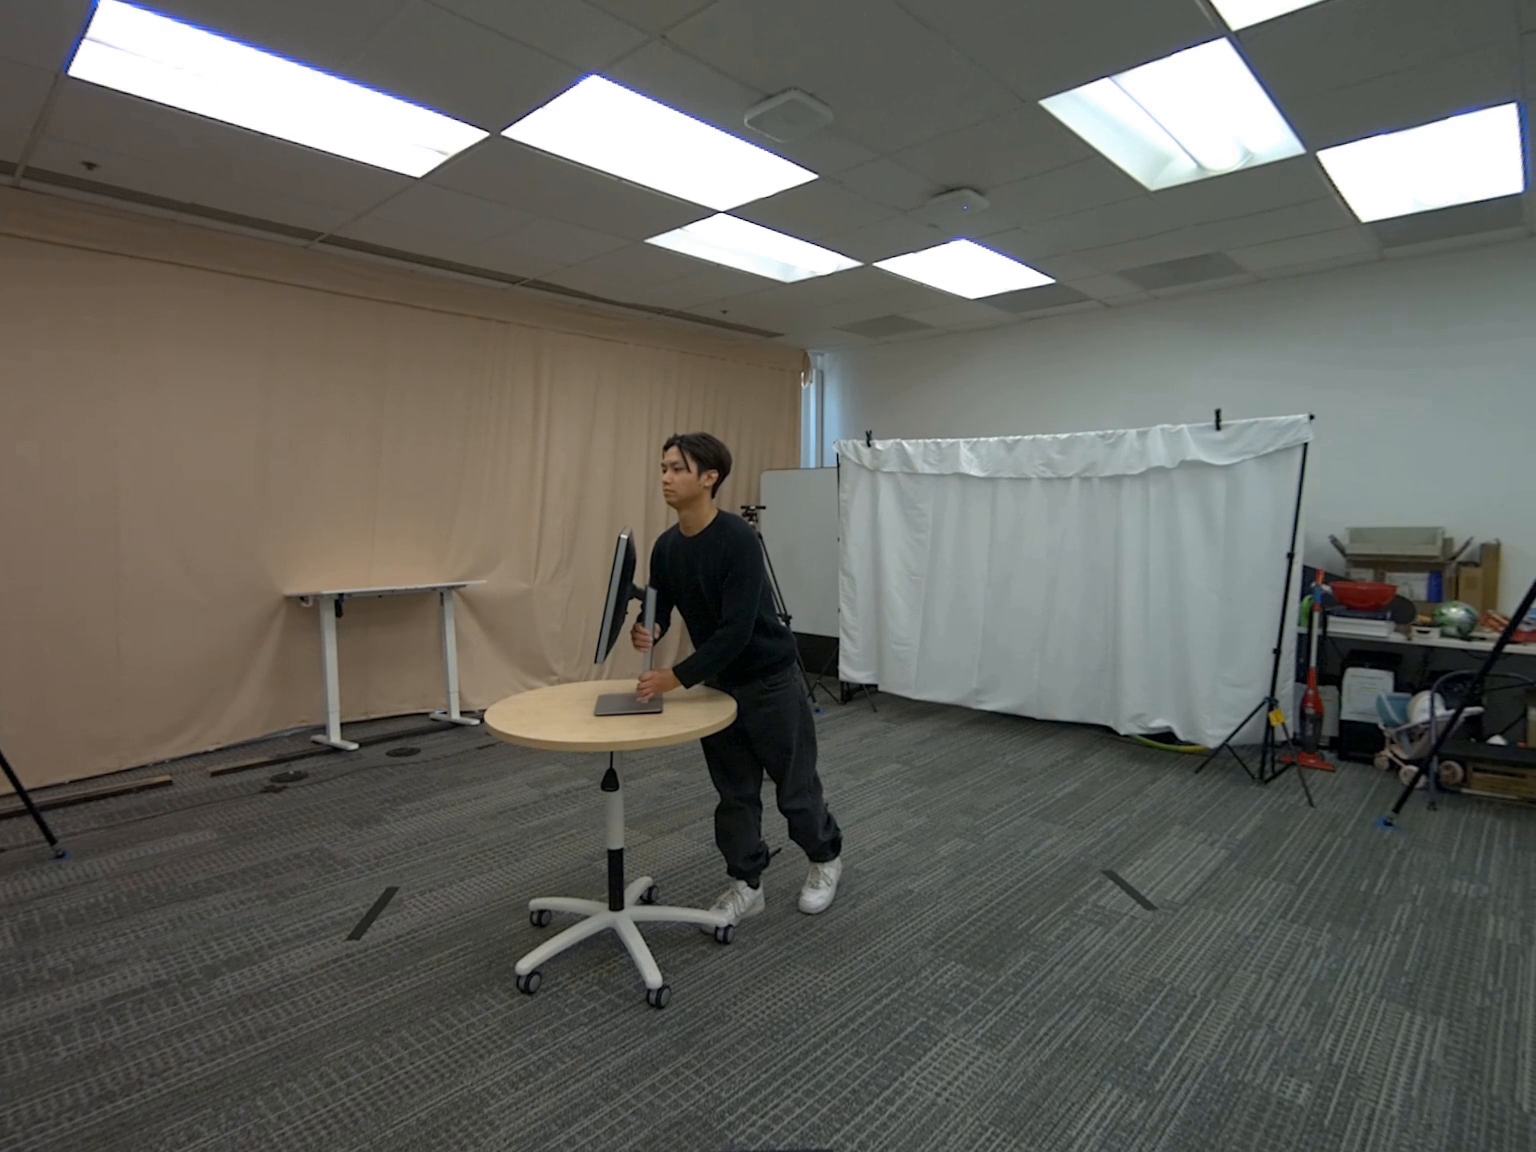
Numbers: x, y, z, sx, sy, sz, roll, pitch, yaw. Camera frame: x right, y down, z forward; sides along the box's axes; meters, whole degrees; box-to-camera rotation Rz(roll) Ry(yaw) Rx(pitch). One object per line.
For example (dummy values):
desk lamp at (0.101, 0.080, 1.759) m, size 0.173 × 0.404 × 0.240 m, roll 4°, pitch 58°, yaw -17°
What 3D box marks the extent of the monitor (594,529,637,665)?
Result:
monitor at (-0.431, 0.136, 2.583) m, size 0.173 × 0.514 × 0.536 m, roll -5°, pitch 6°, yaw -8°
